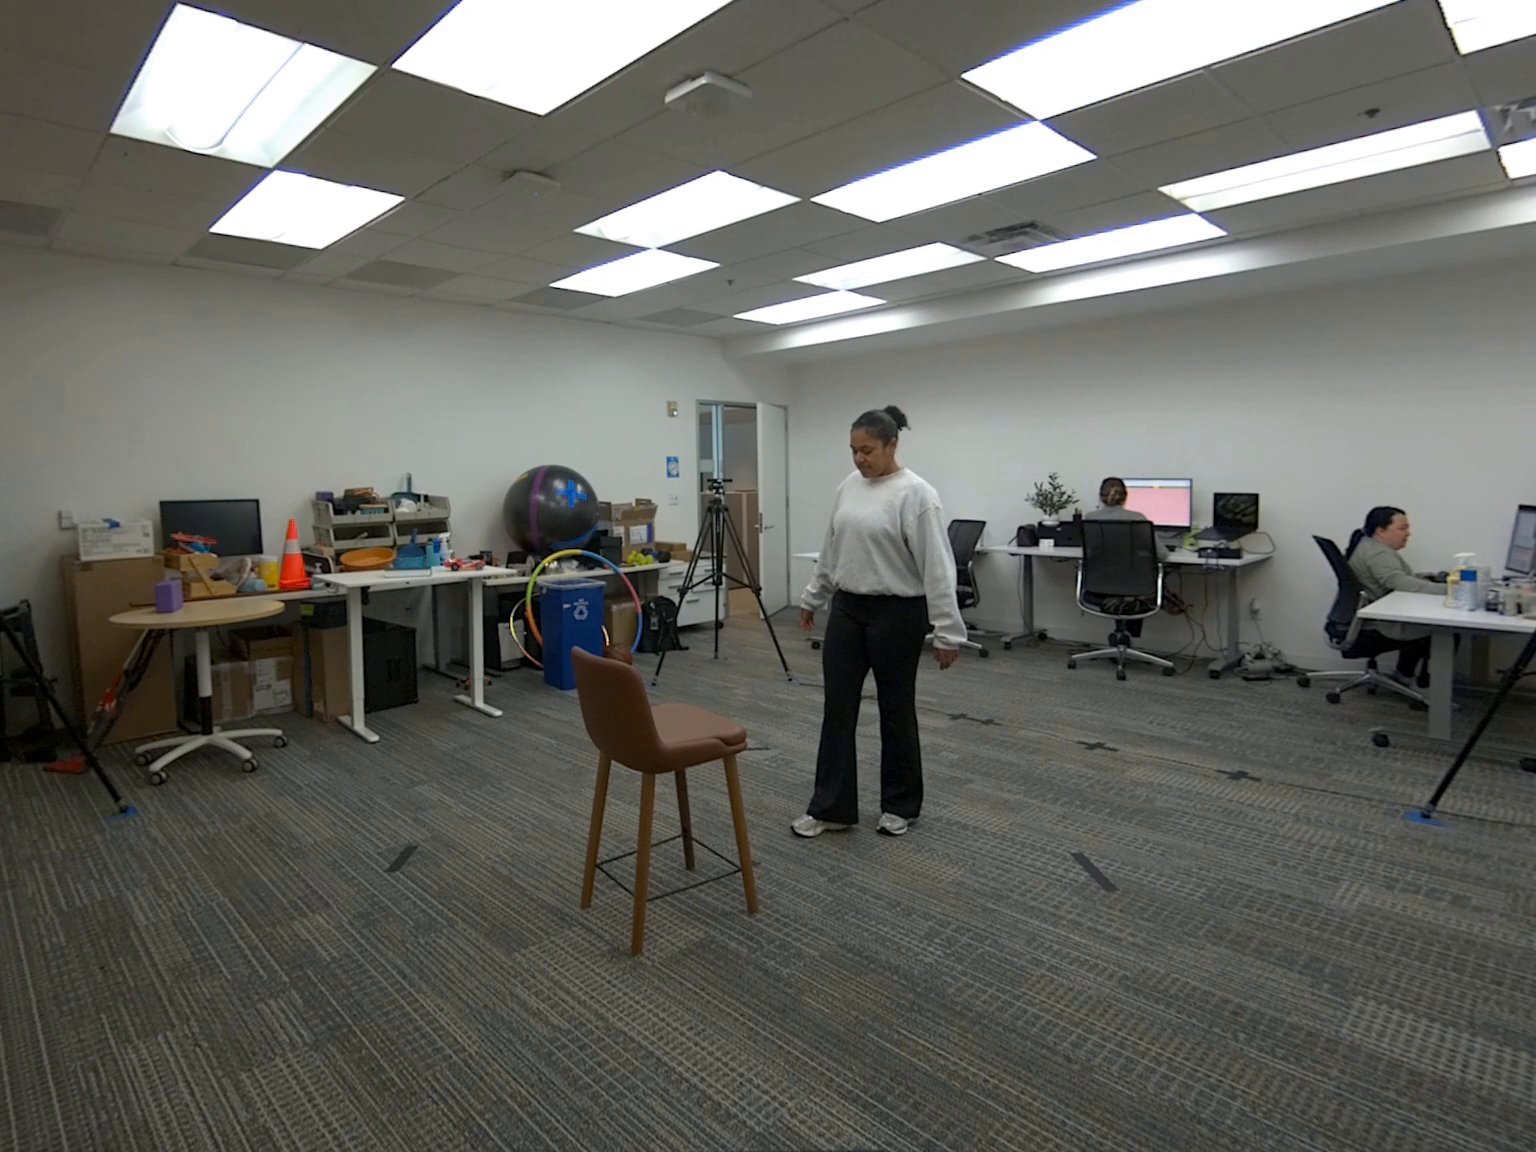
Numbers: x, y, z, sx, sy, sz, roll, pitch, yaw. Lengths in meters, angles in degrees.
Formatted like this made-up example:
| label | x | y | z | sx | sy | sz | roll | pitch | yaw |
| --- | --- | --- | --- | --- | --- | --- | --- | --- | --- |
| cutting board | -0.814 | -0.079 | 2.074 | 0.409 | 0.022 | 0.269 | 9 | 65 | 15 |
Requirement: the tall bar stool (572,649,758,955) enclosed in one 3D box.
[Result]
| label | x | y | z | sx | sy | sz | roll | pitch | yaw |
| --- | --- | --- | --- | --- | --- | --- | --- | --- | --- |
| tall bar stool | -0.341 | 0.656 | 2.761 | 0.456 | 0.885 | 0.470 | -7 | 7 | -36 |
